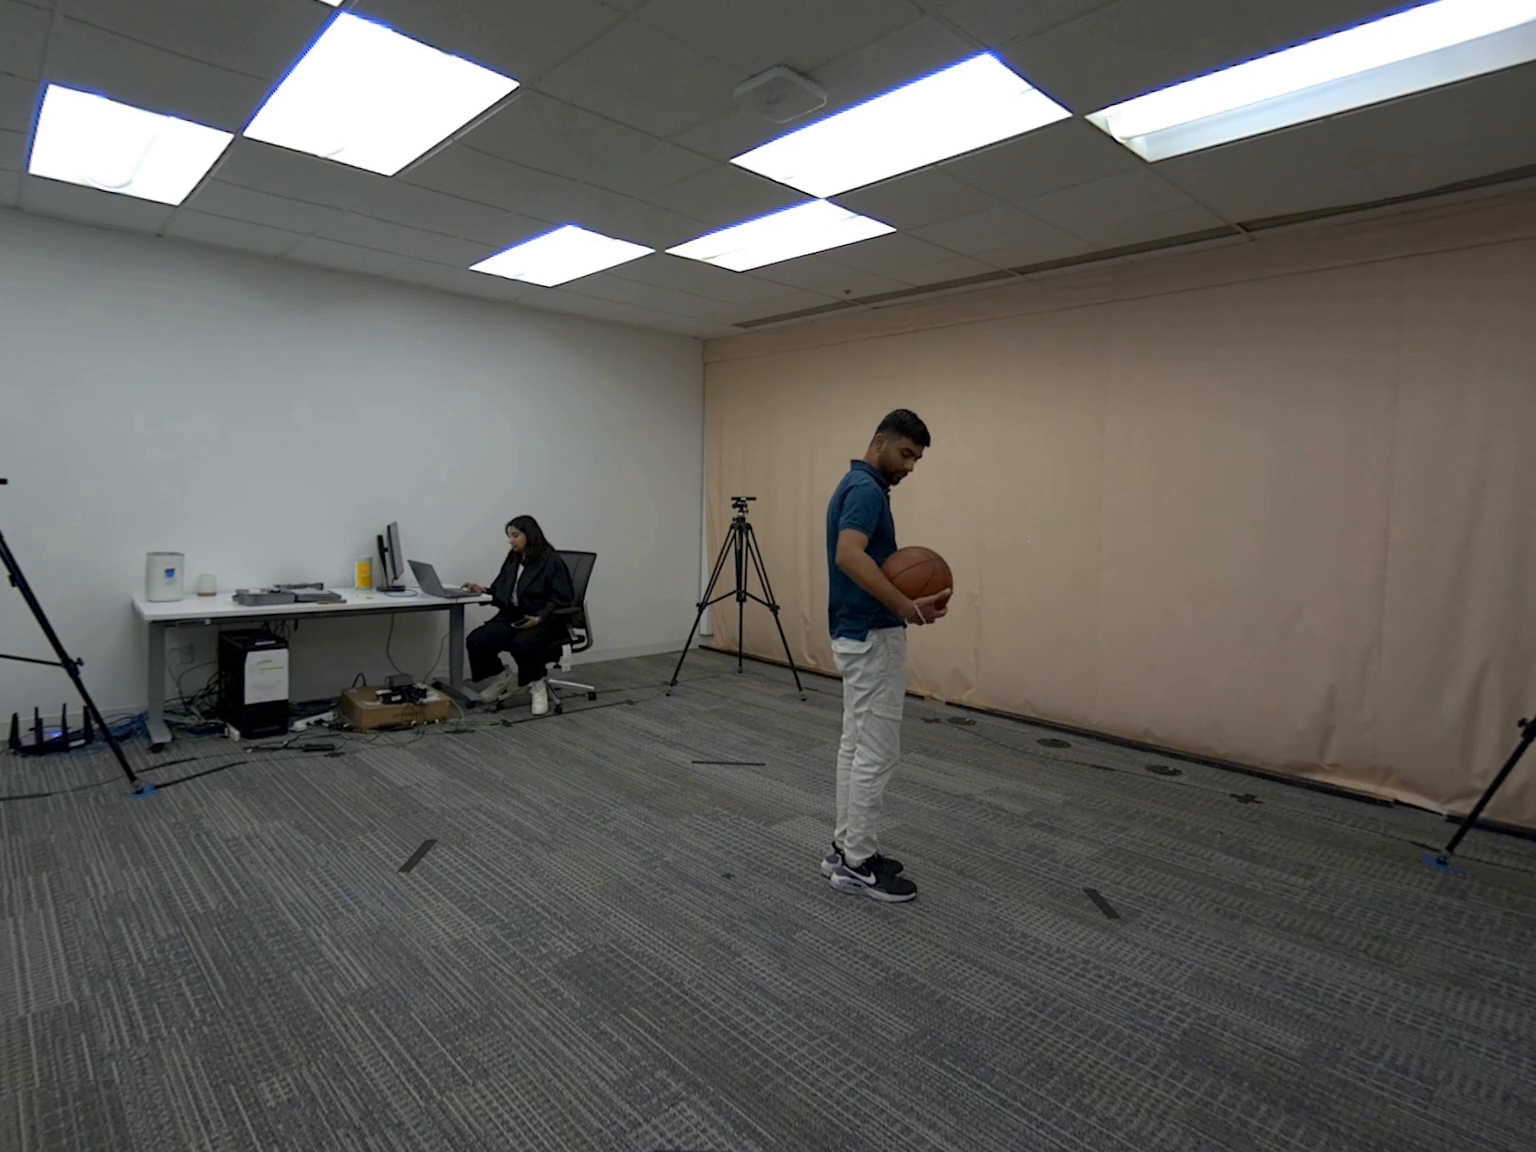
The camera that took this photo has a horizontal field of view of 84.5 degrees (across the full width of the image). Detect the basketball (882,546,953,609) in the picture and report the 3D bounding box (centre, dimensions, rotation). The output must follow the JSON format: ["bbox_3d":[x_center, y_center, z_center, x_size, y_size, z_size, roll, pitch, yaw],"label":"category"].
[{"bbox_3d":[0.466,0.024,2.727,0.236,0.235,0.237,1,4,-1],"label":"basketball"}]
